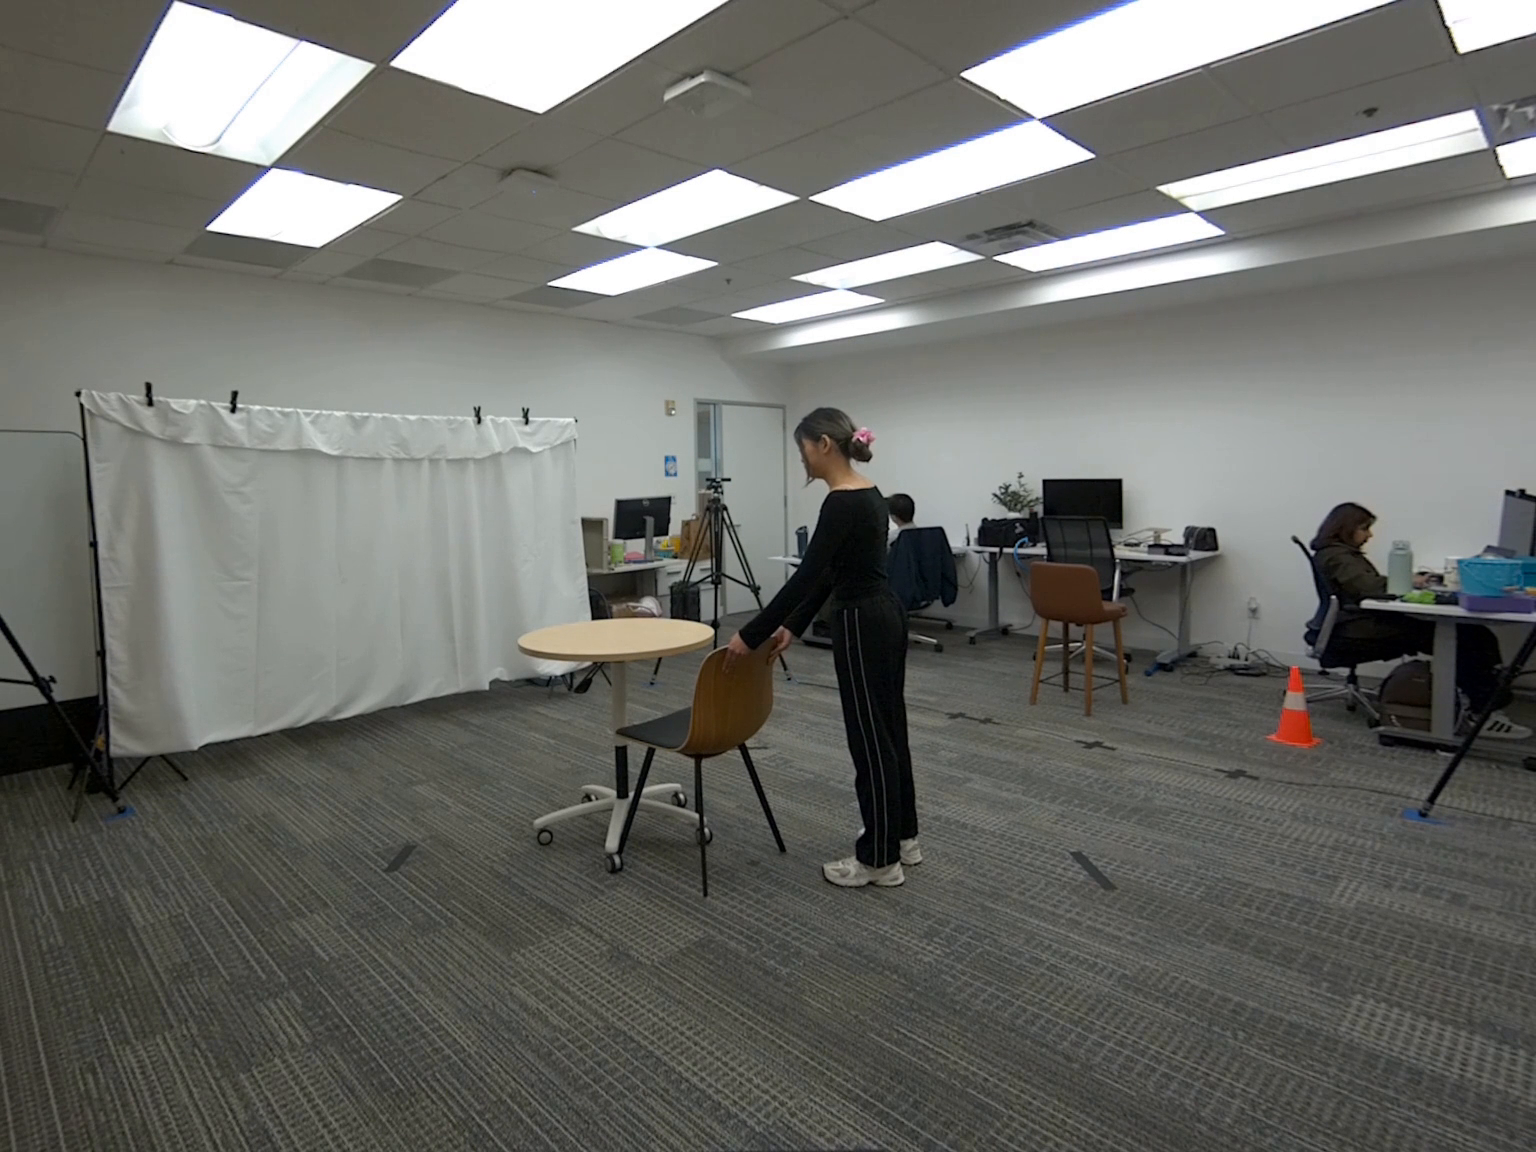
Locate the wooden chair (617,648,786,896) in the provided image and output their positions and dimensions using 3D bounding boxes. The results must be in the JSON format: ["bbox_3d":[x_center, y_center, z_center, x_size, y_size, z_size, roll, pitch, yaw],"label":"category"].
[{"bbox_3d":[-0.257,0.612,3.135,0.540,0.871,0.466,9,10,39],"label":"wooden chair"}]
